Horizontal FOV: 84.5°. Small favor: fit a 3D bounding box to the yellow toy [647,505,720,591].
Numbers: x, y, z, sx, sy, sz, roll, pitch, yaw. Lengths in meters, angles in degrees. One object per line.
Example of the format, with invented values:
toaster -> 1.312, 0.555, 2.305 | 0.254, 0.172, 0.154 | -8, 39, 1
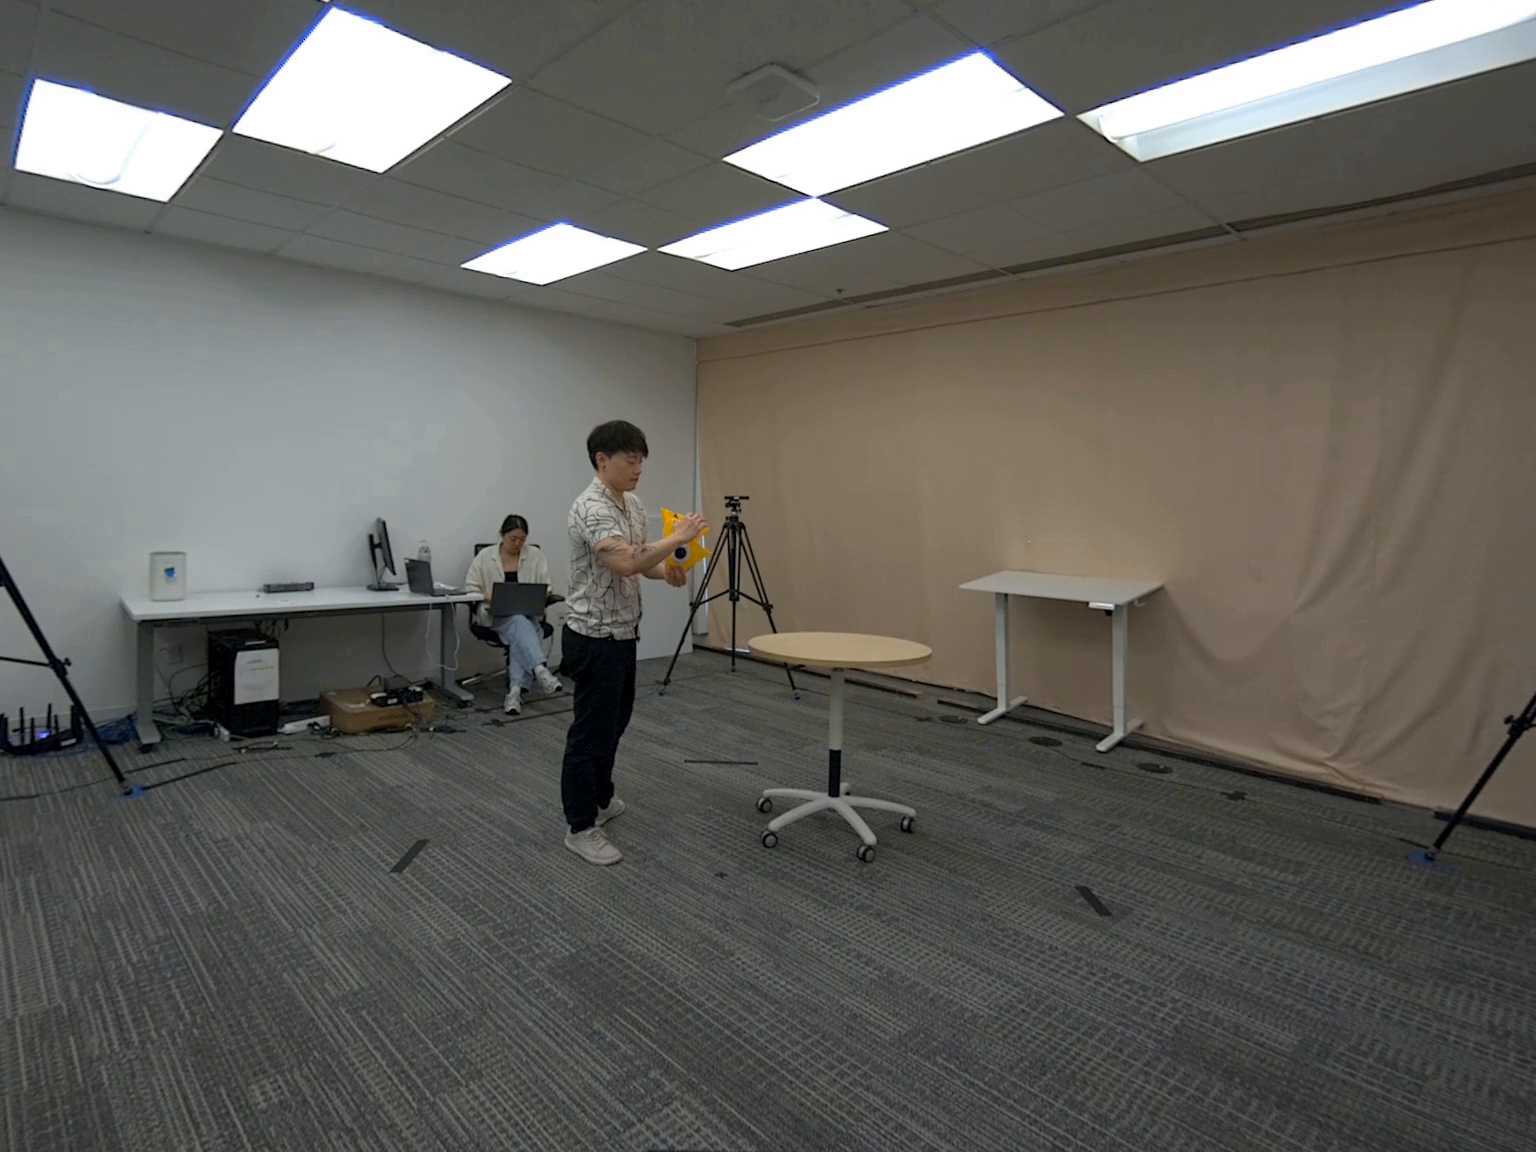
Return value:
yellow toy -> -0.364, -0.109, 3.231 | 0.187, 0.231, 0.211 | 27, -3, -42
